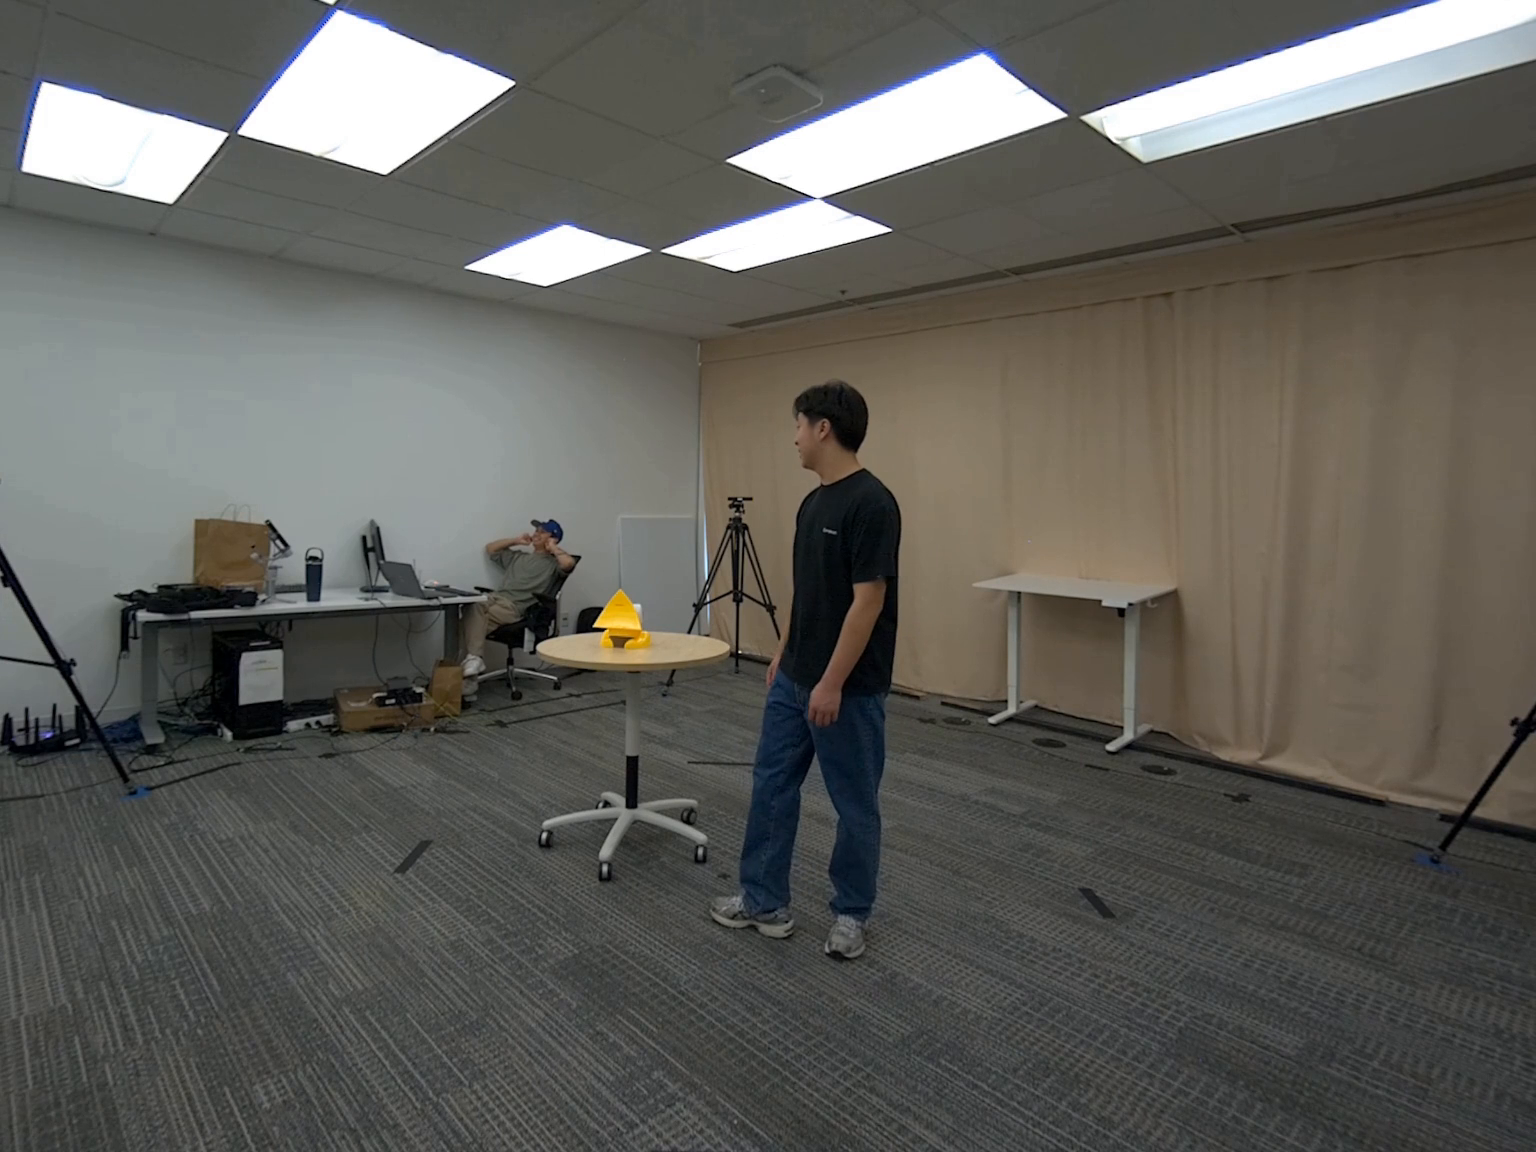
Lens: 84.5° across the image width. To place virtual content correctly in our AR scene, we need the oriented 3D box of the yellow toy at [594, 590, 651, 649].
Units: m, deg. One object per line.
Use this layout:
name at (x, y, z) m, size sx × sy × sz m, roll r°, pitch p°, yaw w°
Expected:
yellow toy at (-0.578, 0.163, 3.374) m, size 0.207 × 0.230 × 0.191 m, roll 2°, pitch 4°, yaw 13°
